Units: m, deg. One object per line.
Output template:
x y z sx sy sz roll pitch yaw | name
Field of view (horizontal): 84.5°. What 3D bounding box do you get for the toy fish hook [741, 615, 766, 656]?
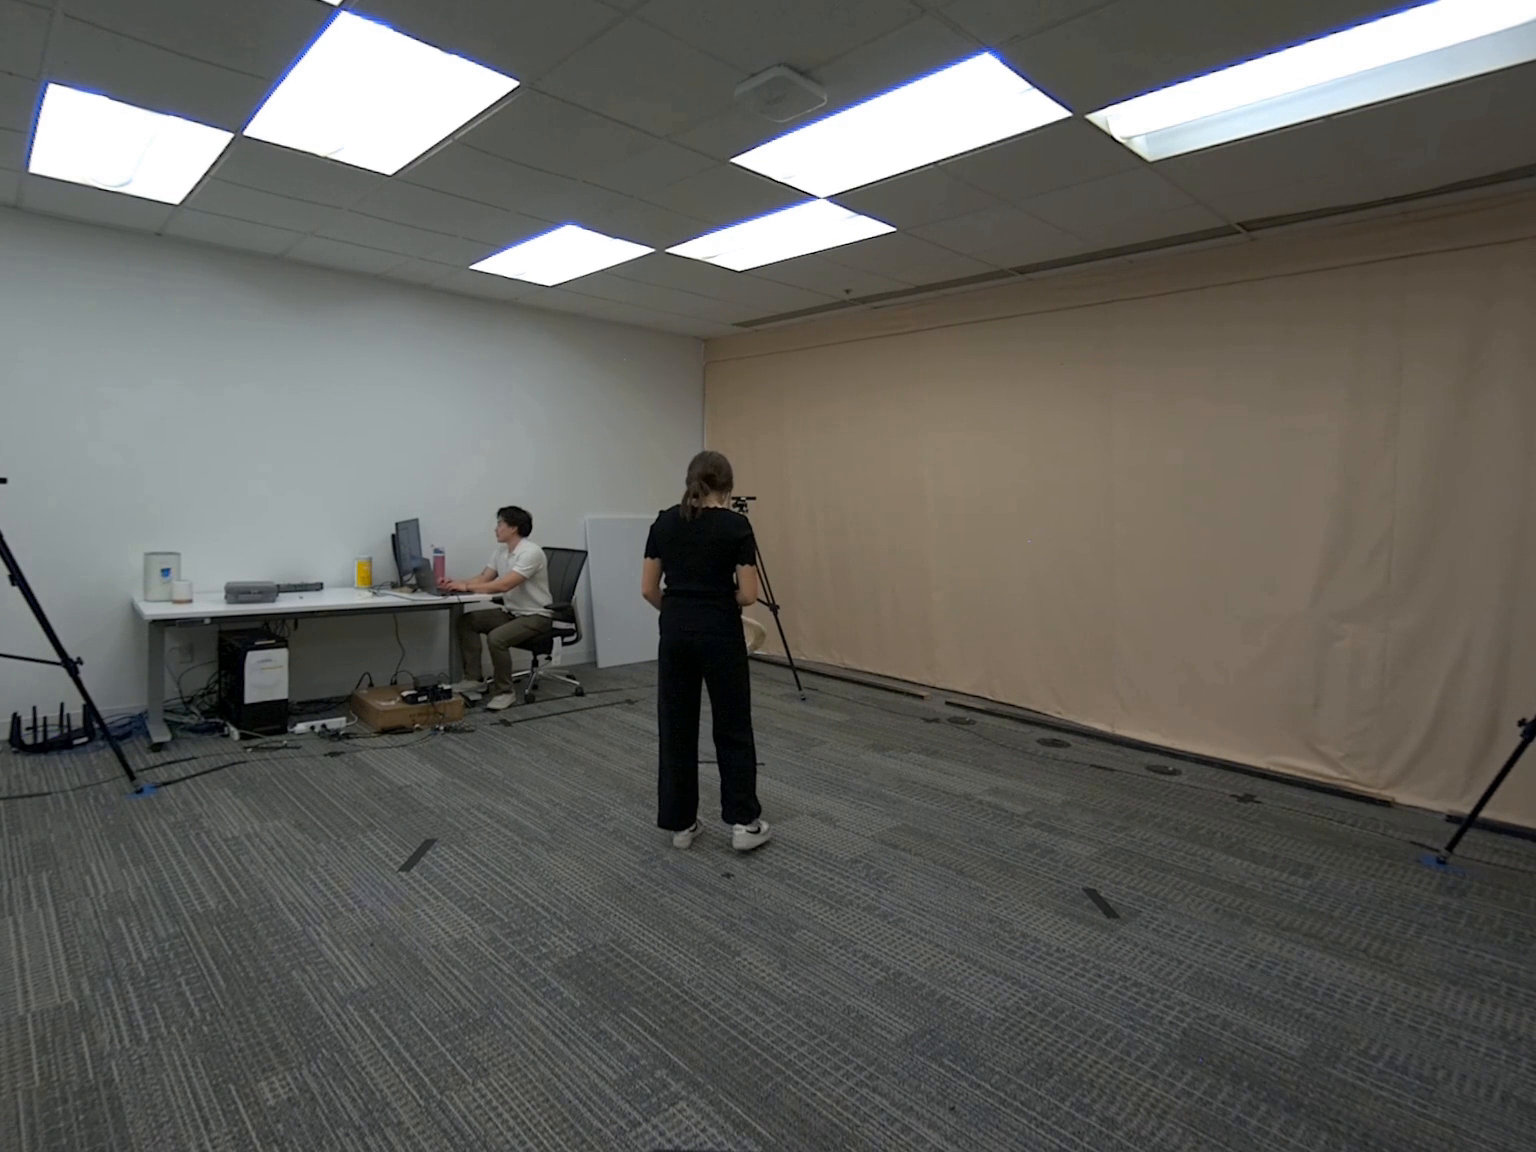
-0.161 0.228 3.644 0.050 0.224 0.491 46 -5 36 | toy fish hook
